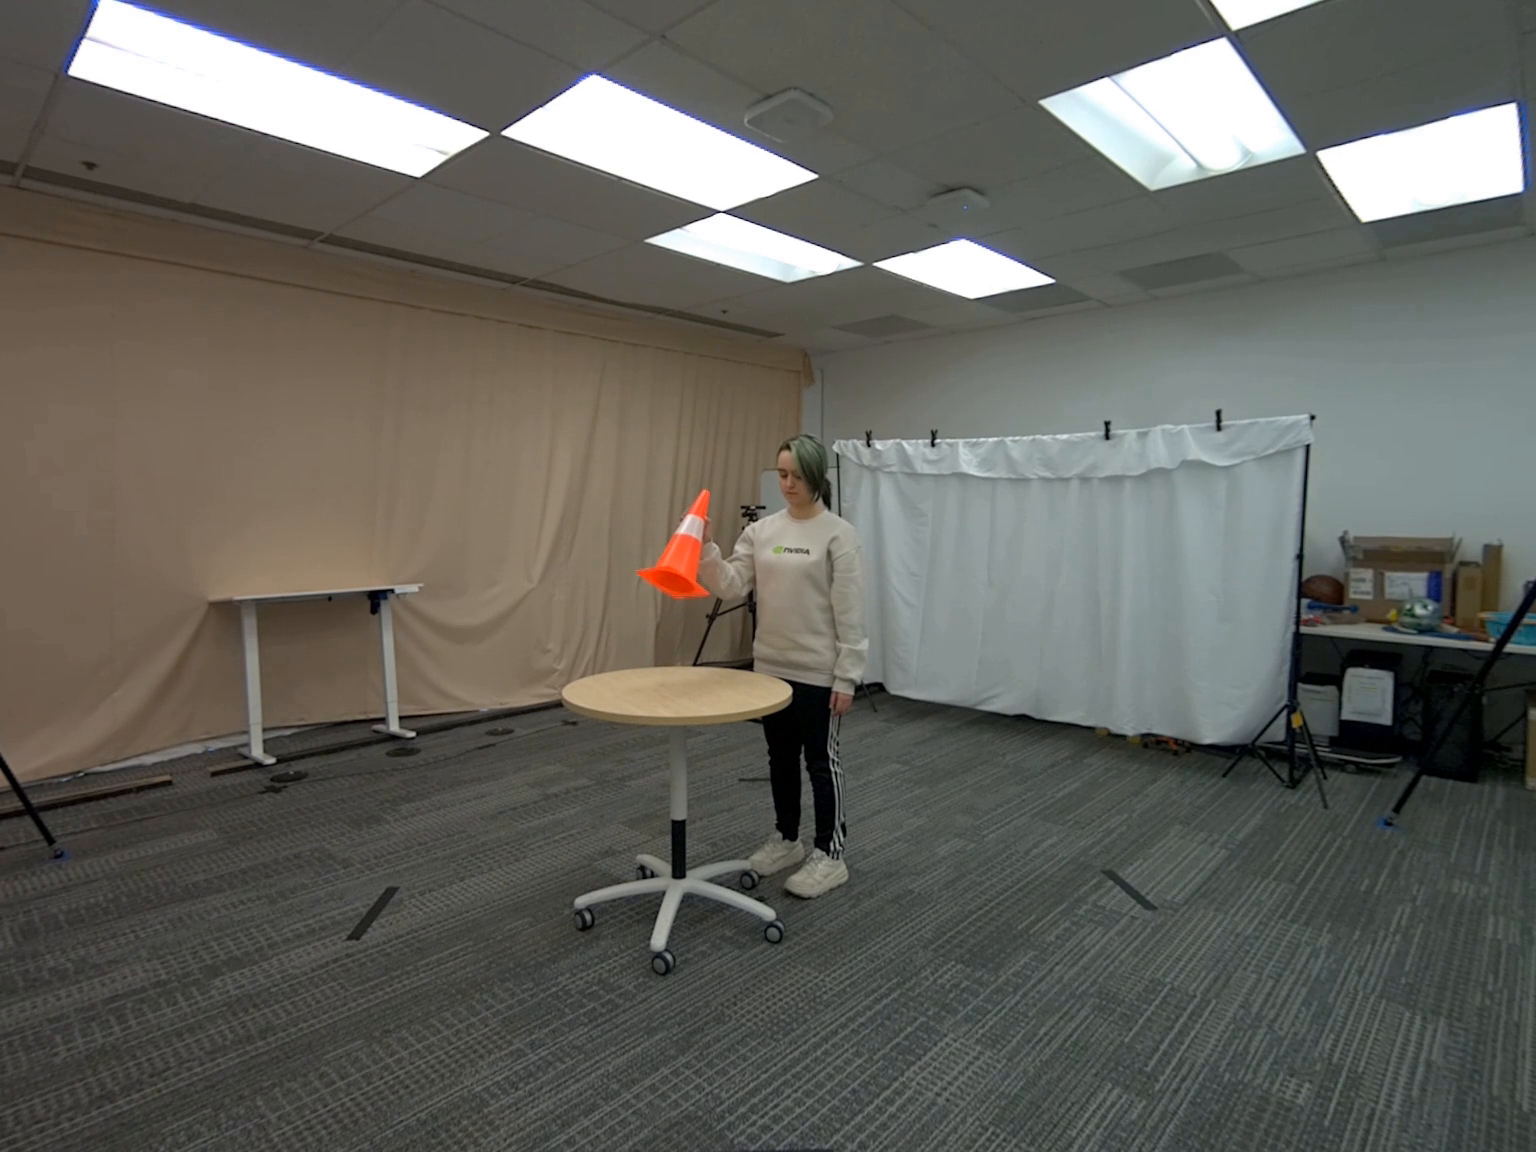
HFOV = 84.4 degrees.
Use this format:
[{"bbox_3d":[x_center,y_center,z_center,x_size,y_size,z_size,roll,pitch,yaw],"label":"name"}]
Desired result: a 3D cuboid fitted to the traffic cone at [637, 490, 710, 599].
[{"bbox_3d":[-0.270,-0.140,2.968,0.210,0.386,0.197,-12,-39,45],"label":"traffic cone"}]
